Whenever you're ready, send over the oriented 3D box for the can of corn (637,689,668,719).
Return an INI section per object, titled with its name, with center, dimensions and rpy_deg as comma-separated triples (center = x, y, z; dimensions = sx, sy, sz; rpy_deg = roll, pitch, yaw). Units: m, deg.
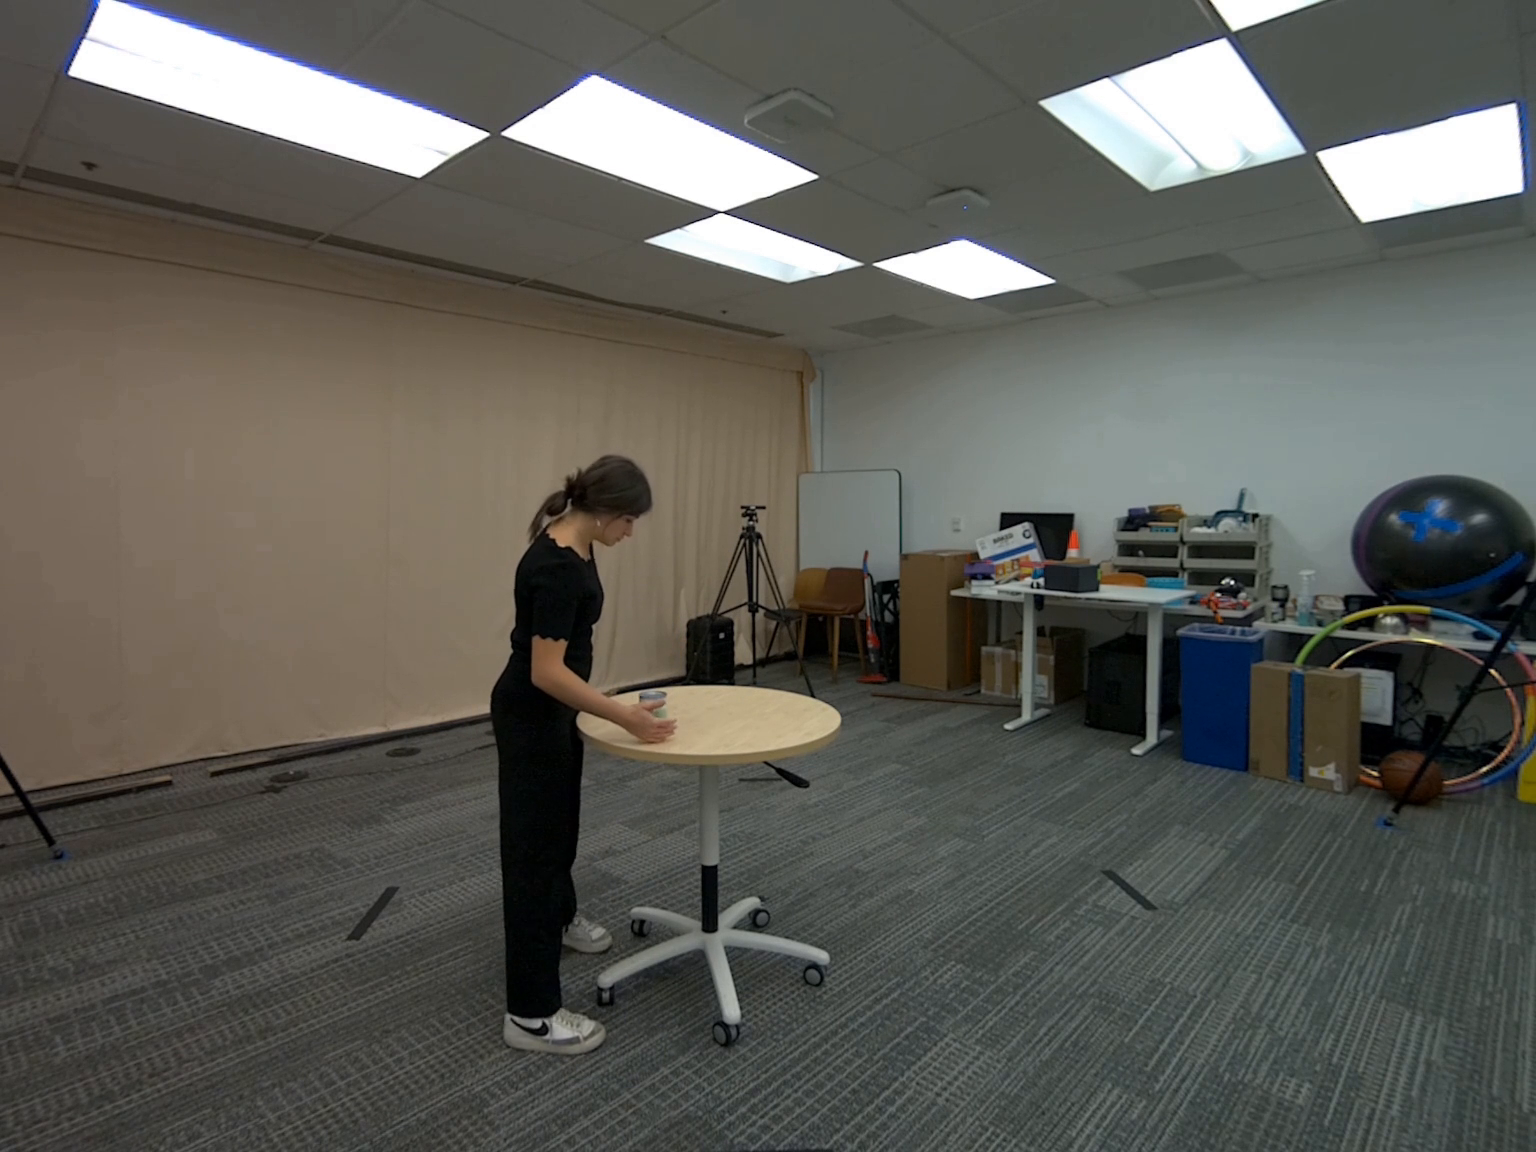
[can of corn]
center = -0.307, 0.375, 2.201
dimensions = 0.074, 0.111, 0.074
rpy_deg = -1, 4, -2
